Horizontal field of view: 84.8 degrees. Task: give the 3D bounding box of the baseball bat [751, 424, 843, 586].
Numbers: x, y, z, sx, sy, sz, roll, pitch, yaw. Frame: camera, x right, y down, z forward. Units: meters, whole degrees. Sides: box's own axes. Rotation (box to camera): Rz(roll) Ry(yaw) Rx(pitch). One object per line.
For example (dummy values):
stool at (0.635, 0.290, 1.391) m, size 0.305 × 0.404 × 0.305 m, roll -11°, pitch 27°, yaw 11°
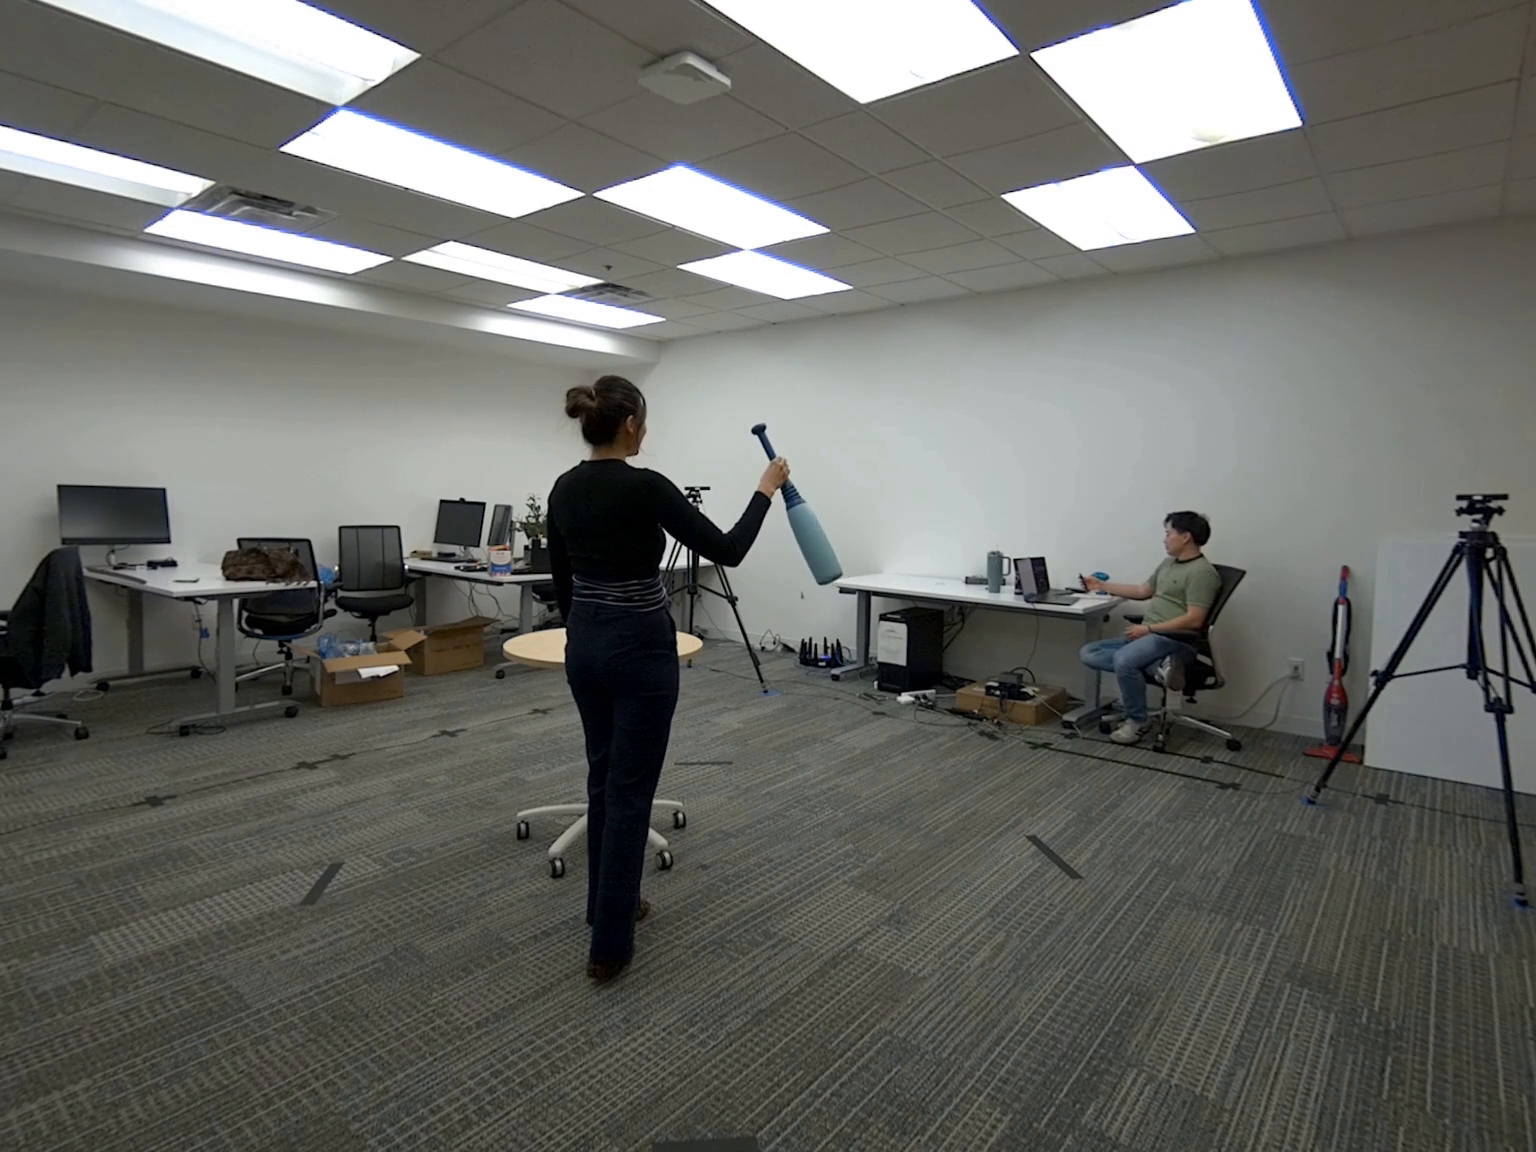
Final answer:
baseball bat at (0.078, -0.225, 2.609) m, size 0.089 × 0.552 × 0.088 m, roll -23°, pitch -12°, yaw -6°
